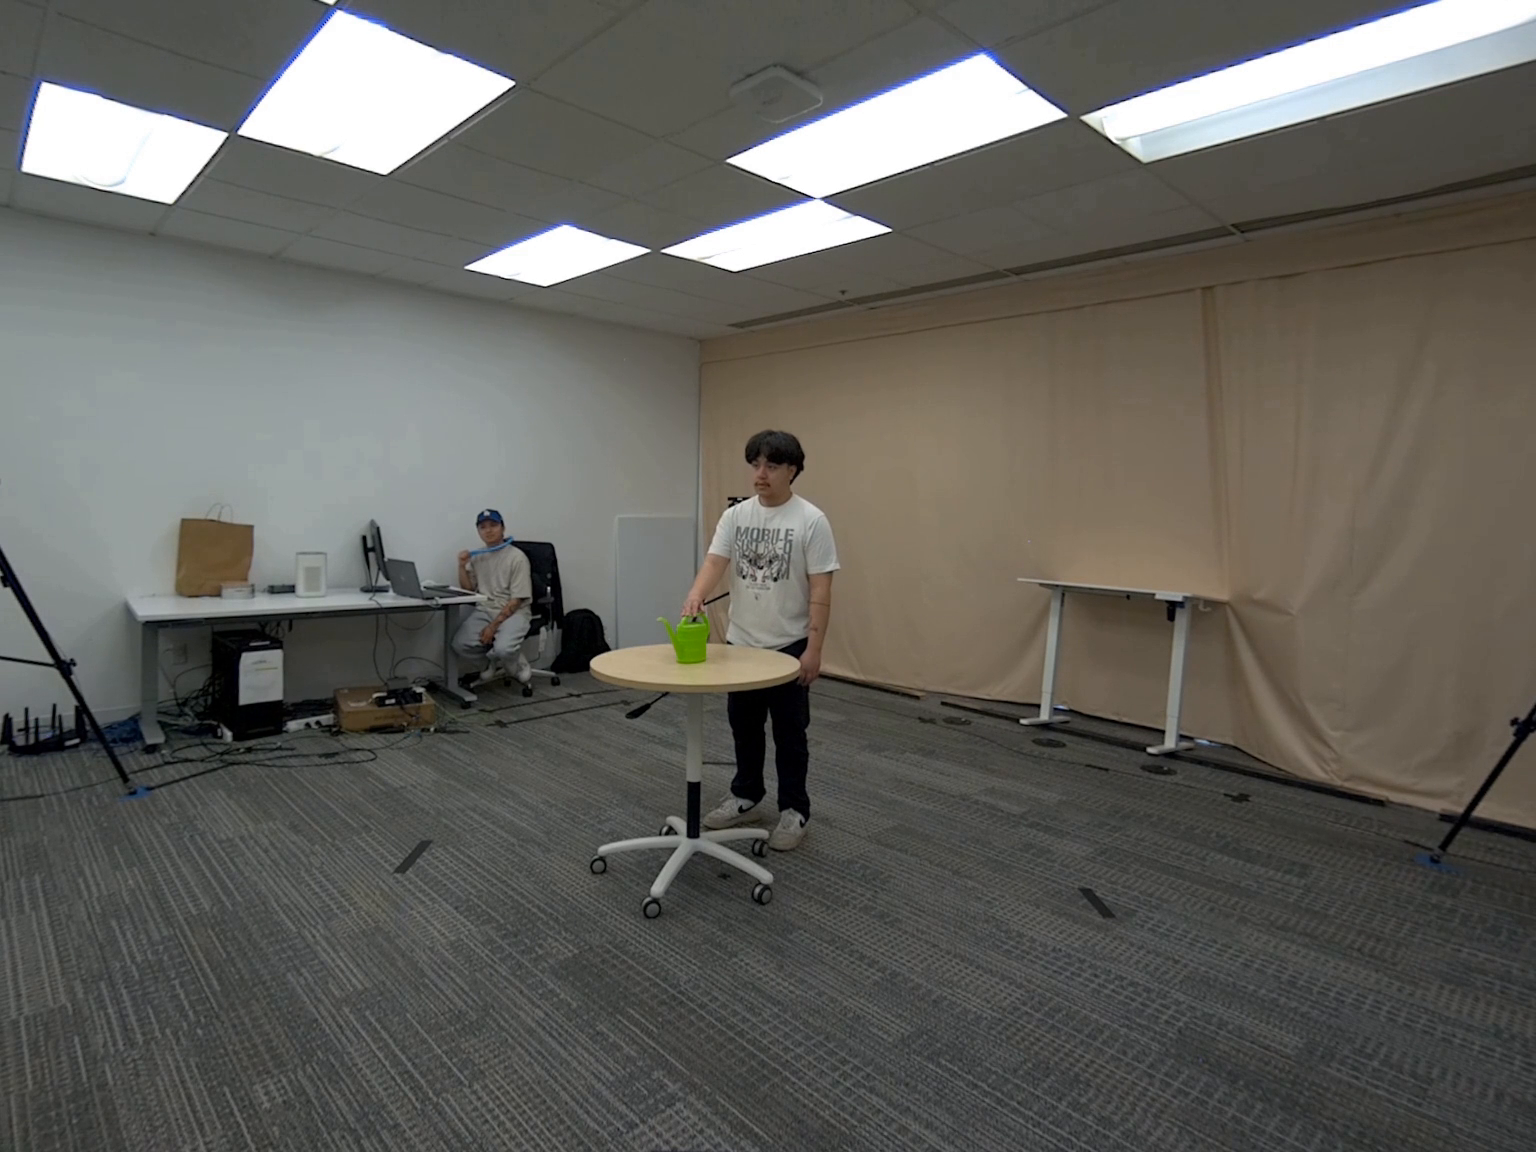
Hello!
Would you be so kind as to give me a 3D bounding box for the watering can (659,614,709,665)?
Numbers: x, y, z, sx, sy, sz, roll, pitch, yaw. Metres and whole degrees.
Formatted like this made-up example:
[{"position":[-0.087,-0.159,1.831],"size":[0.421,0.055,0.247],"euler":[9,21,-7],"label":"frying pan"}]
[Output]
[{"position":[-0.322,0.227,3.059],"size":[0.271,0.177,0.100],"euler":[1,2,-43],"label":"watering can"}]
